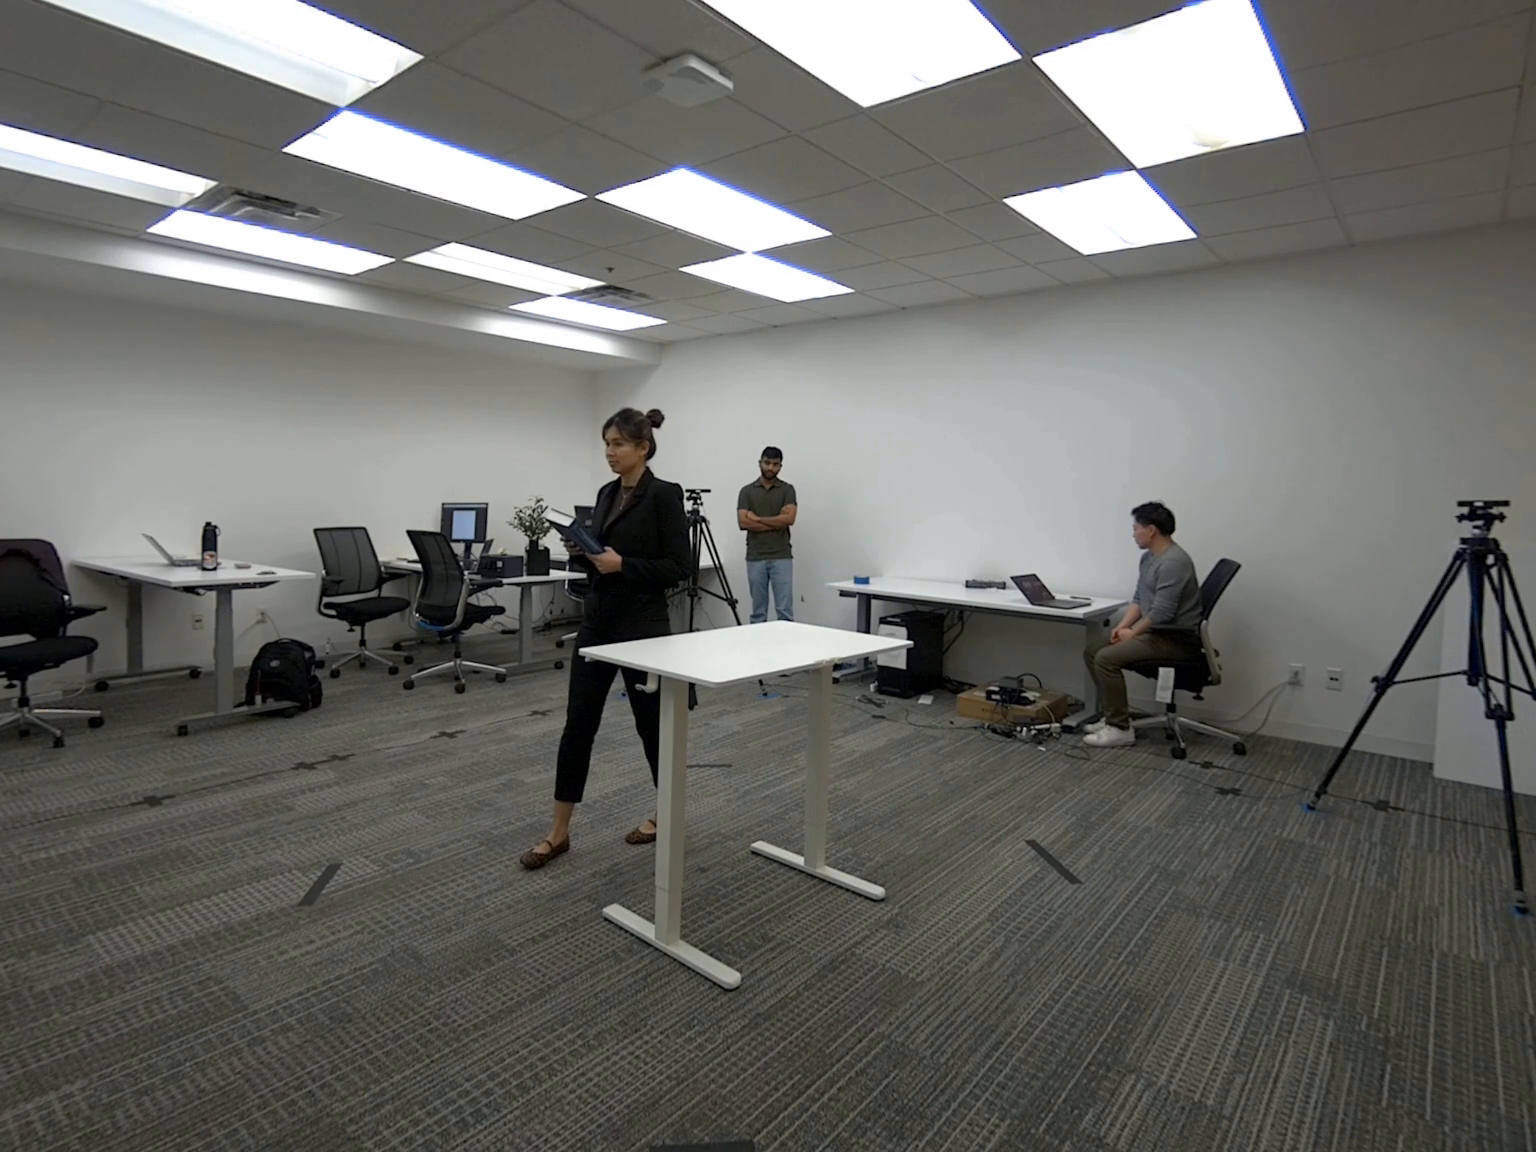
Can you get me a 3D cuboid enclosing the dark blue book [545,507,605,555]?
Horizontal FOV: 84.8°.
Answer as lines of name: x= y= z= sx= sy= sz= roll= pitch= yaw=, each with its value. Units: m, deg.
dark blue book: x=-0.713 y=-0.154 z=3.114 sx=0.170 sy=0.045 sz=0.235 roll=19 pitch=-22 yaw=43
